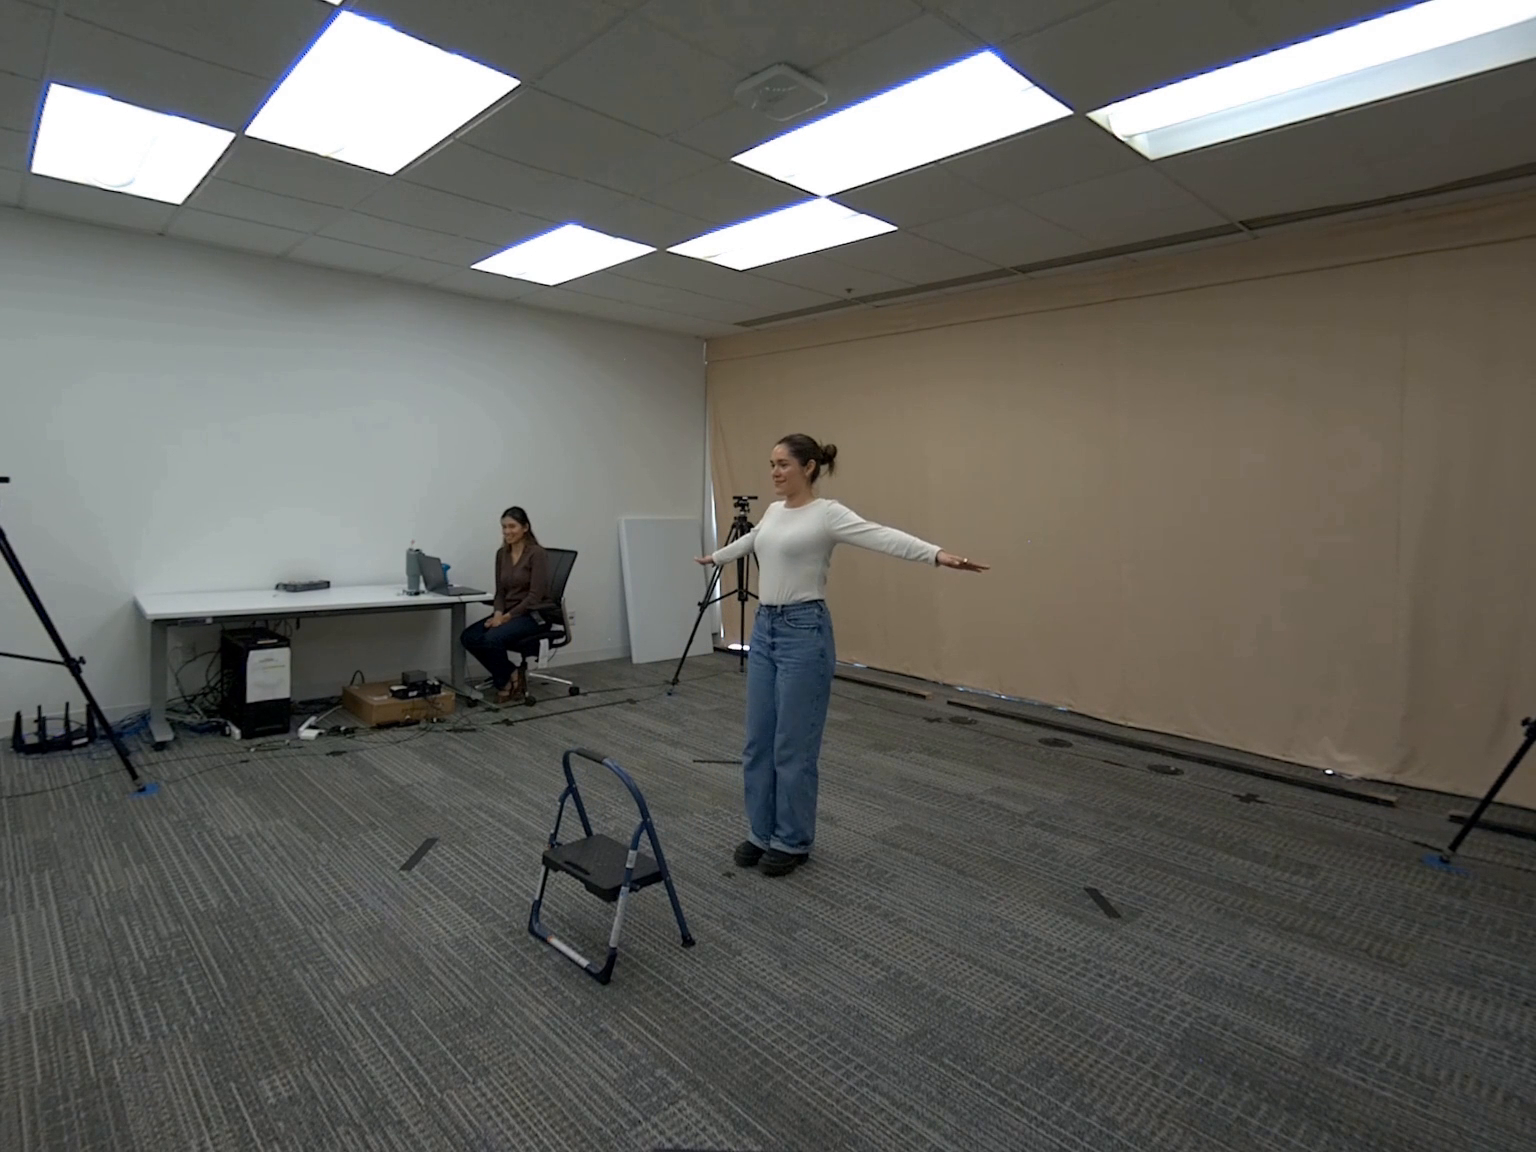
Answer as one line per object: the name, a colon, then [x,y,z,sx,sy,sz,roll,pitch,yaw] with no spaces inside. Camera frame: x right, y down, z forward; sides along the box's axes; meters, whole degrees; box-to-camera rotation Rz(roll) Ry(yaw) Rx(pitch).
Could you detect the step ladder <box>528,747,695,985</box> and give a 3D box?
step ladder: [-0.497,0.838,2.626,0.441,0.605,0.341,4,5,43]
